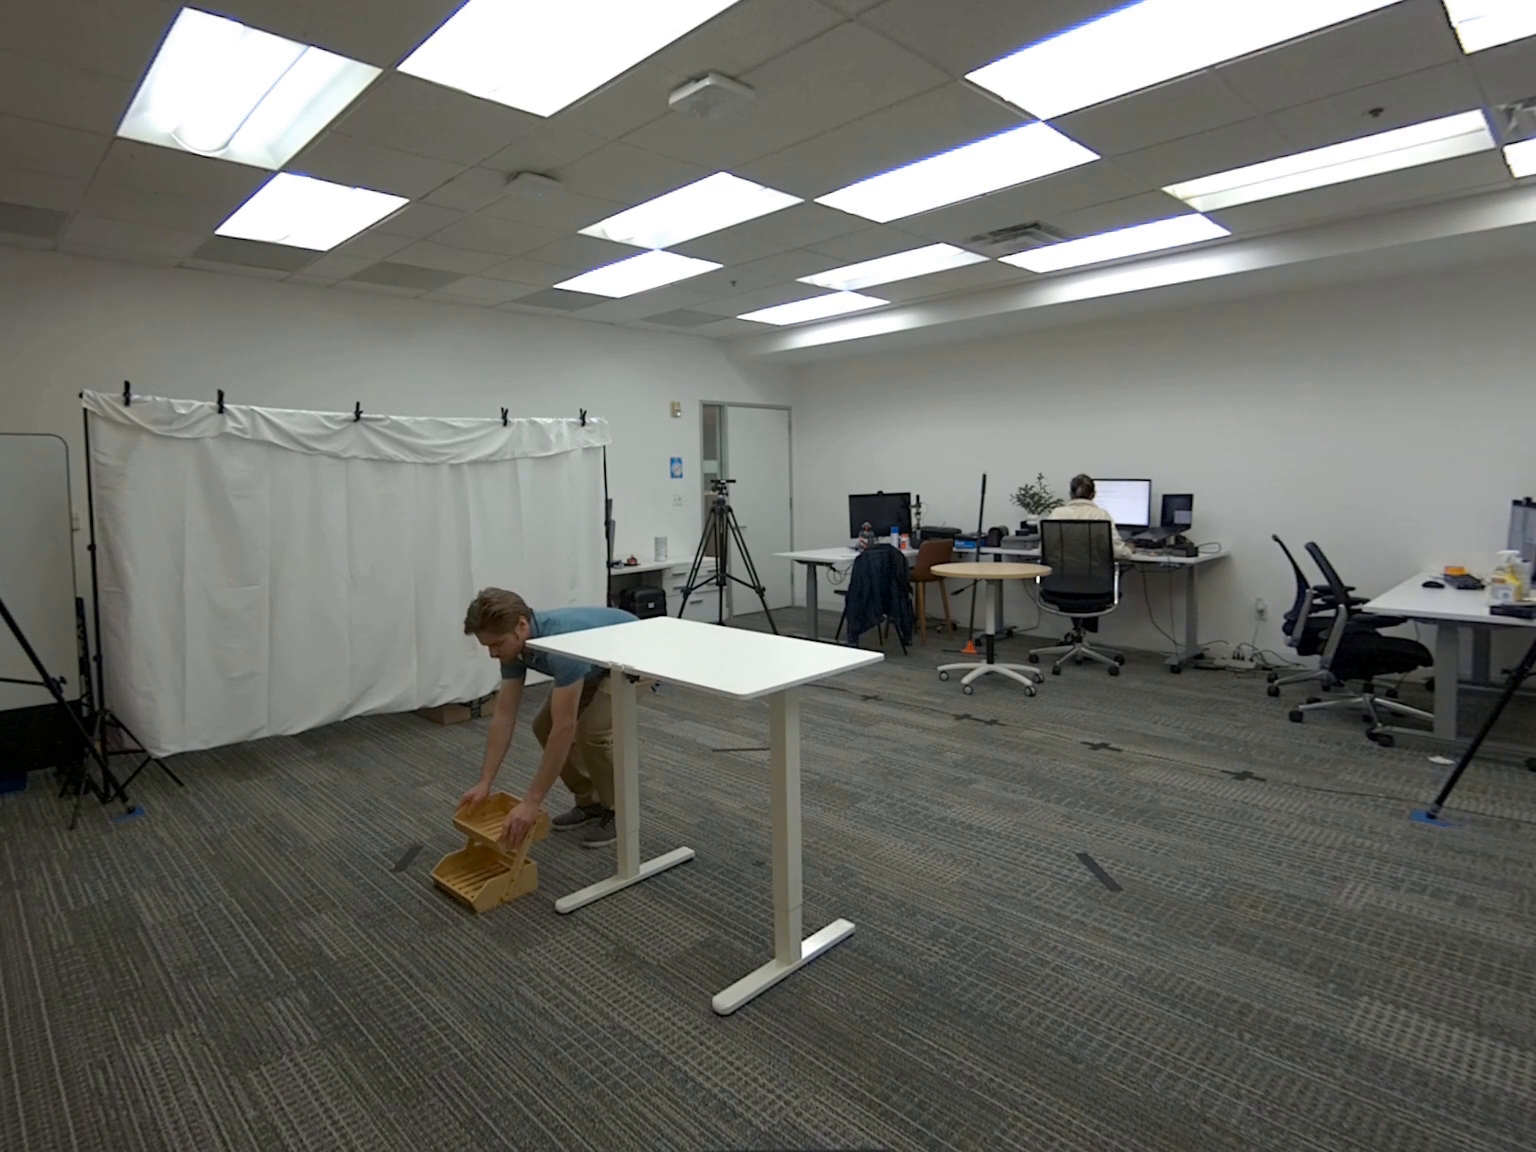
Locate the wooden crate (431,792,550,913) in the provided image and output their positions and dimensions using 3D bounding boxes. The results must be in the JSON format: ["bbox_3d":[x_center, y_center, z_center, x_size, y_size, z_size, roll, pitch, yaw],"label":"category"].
[{"bbox_3d":[-0.979,0.950,2.989,0.334,0.272,0.294,4,7,42],"label":"wooden crate"}]
